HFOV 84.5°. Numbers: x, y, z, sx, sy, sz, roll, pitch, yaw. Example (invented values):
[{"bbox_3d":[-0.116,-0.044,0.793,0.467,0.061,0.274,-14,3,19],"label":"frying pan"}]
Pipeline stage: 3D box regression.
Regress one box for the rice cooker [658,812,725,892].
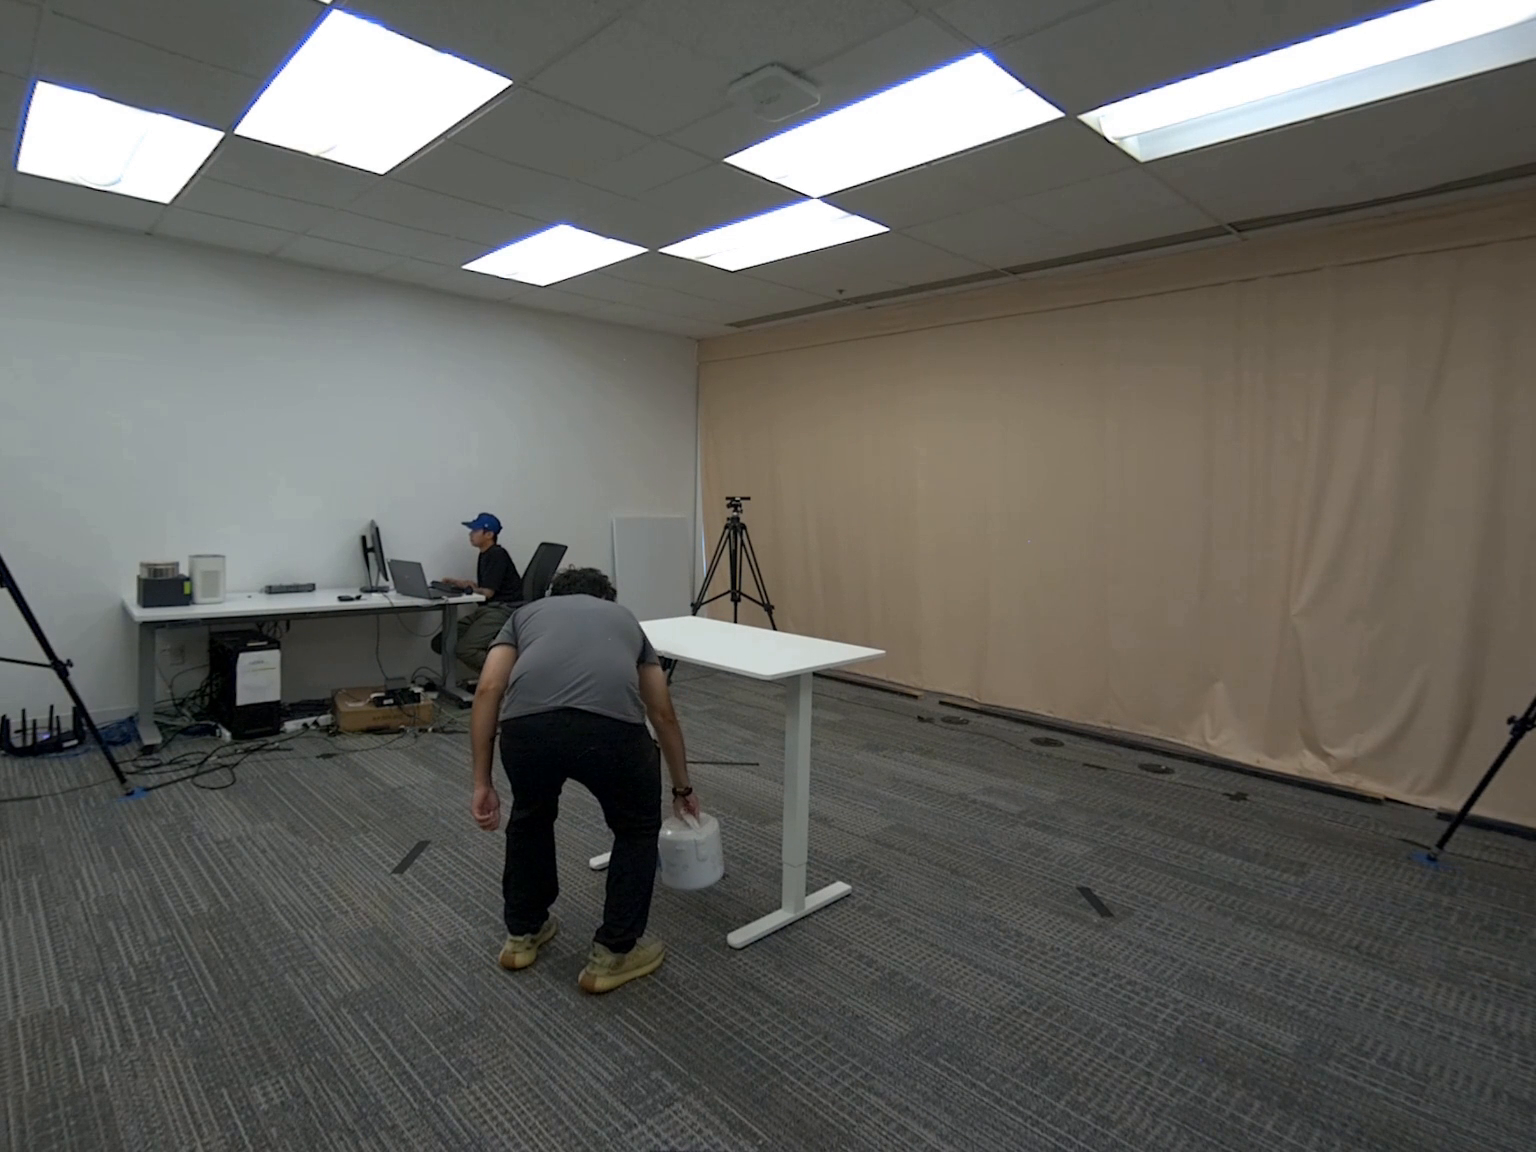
[{"bbox_3d":[-0.267,0.907,2.819,0.214,0.232,0.225,-7,7,-27],"label":"rice cooker"}]
